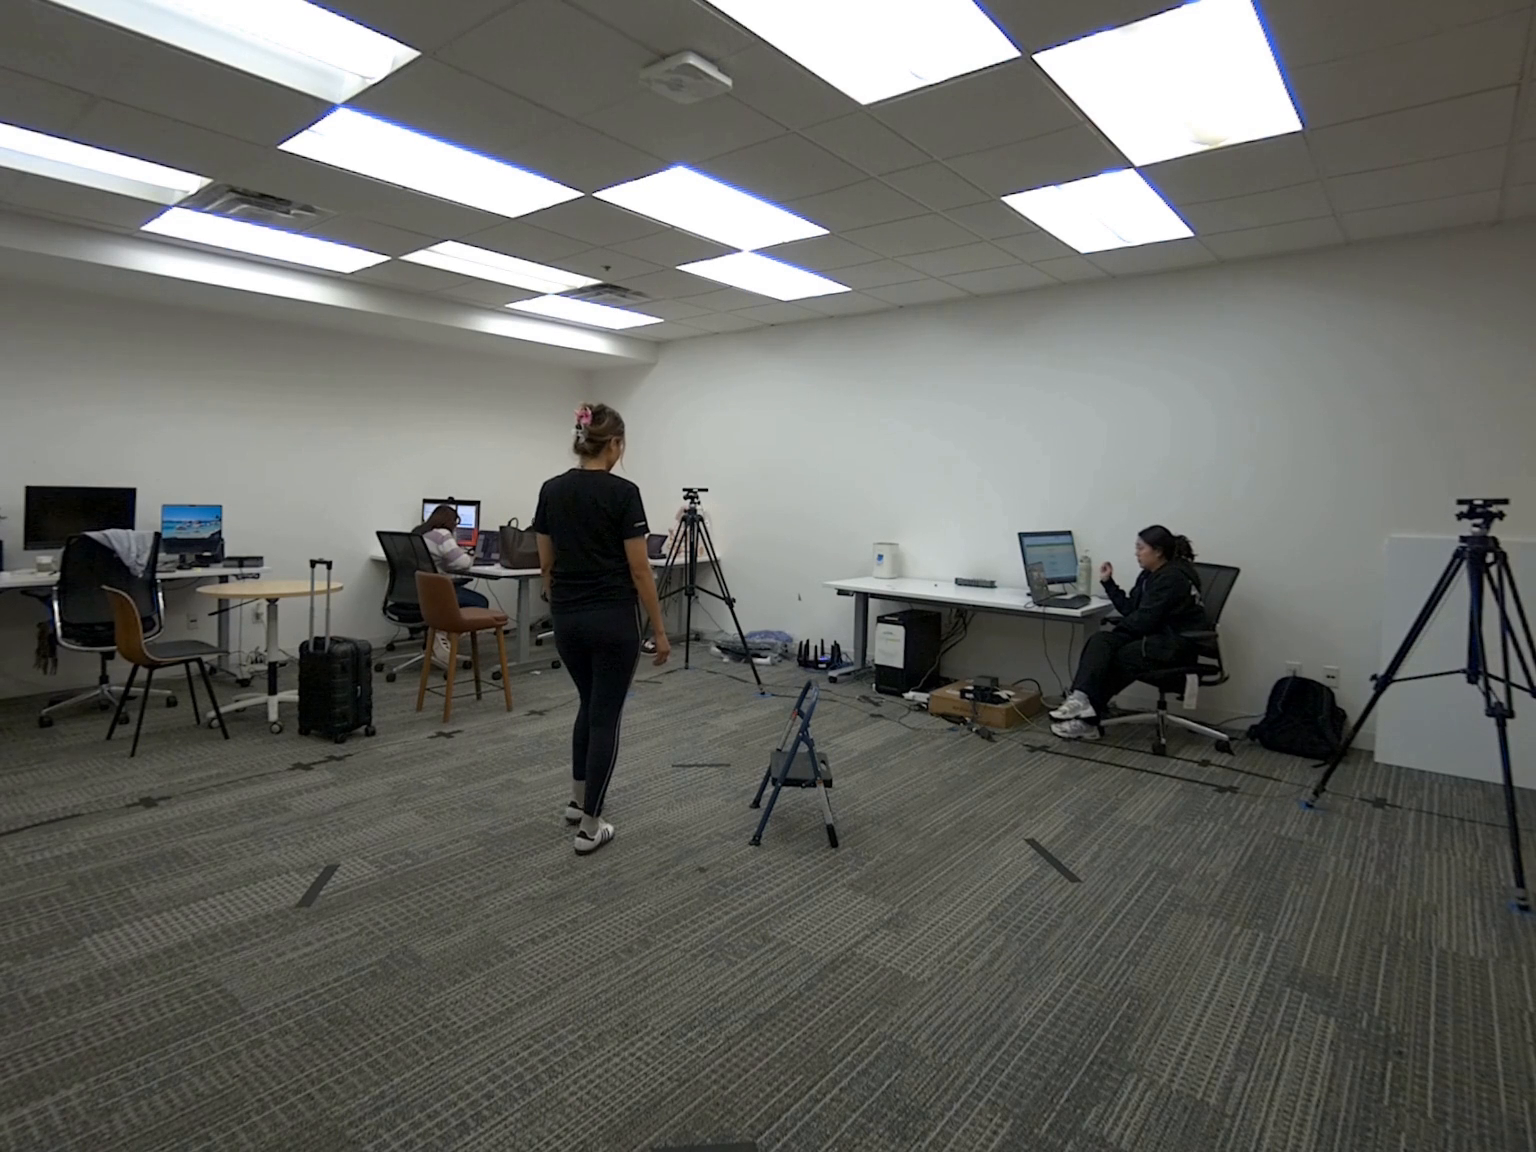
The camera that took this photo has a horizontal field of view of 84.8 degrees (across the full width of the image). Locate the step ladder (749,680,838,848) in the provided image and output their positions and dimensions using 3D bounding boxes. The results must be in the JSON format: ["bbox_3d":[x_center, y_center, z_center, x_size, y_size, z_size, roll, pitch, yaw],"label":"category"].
[{"bbox_3d":[0.101,0.740,3.516,0.350,0.604,0.431,0,3,0],"label":"step ladder"}]
